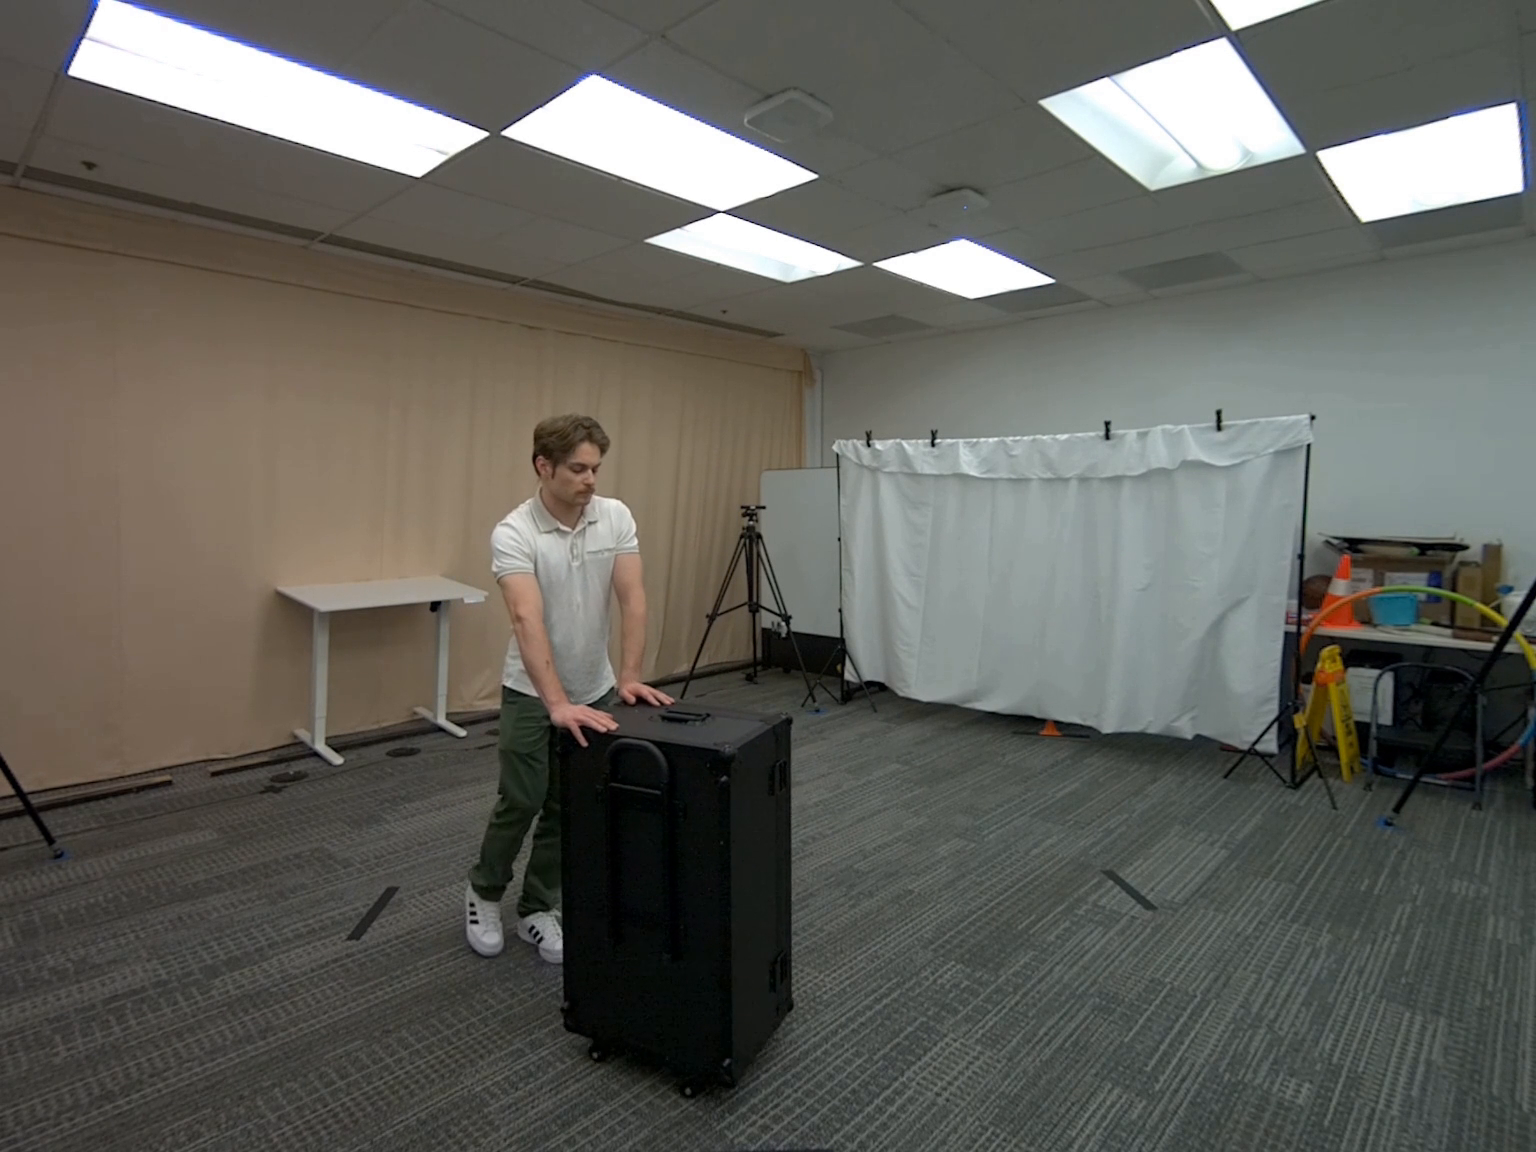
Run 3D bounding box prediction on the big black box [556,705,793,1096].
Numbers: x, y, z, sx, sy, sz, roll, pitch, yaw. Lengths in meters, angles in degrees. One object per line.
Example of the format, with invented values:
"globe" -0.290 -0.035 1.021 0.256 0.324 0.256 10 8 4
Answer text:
"big black box" -0.221 0.793 2.141 0.537 0.866 0.376 1 4 26
